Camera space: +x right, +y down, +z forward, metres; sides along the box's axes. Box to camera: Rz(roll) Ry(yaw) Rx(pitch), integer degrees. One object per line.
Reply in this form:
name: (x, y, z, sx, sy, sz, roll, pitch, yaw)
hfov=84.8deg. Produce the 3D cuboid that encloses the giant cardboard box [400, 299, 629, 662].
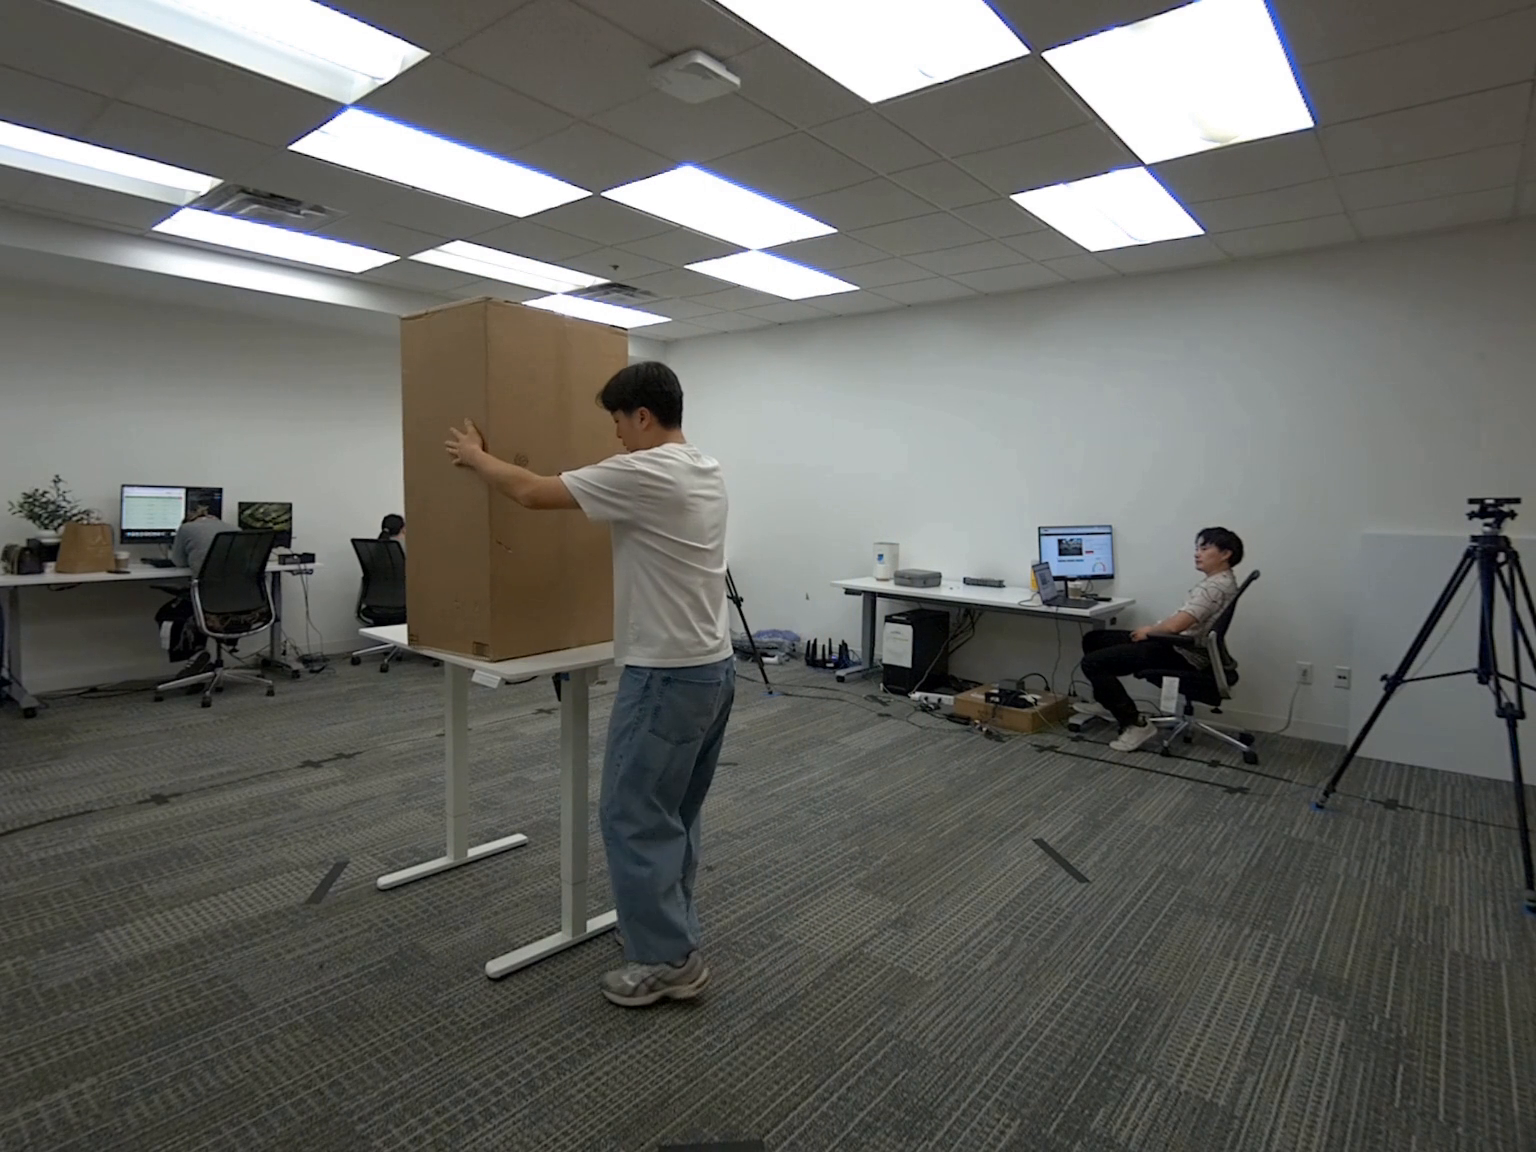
giant cardboard box: (-0.798, -0.306, 2.714, 0.440, 1.022, 0.561, 3, 5, 36)
